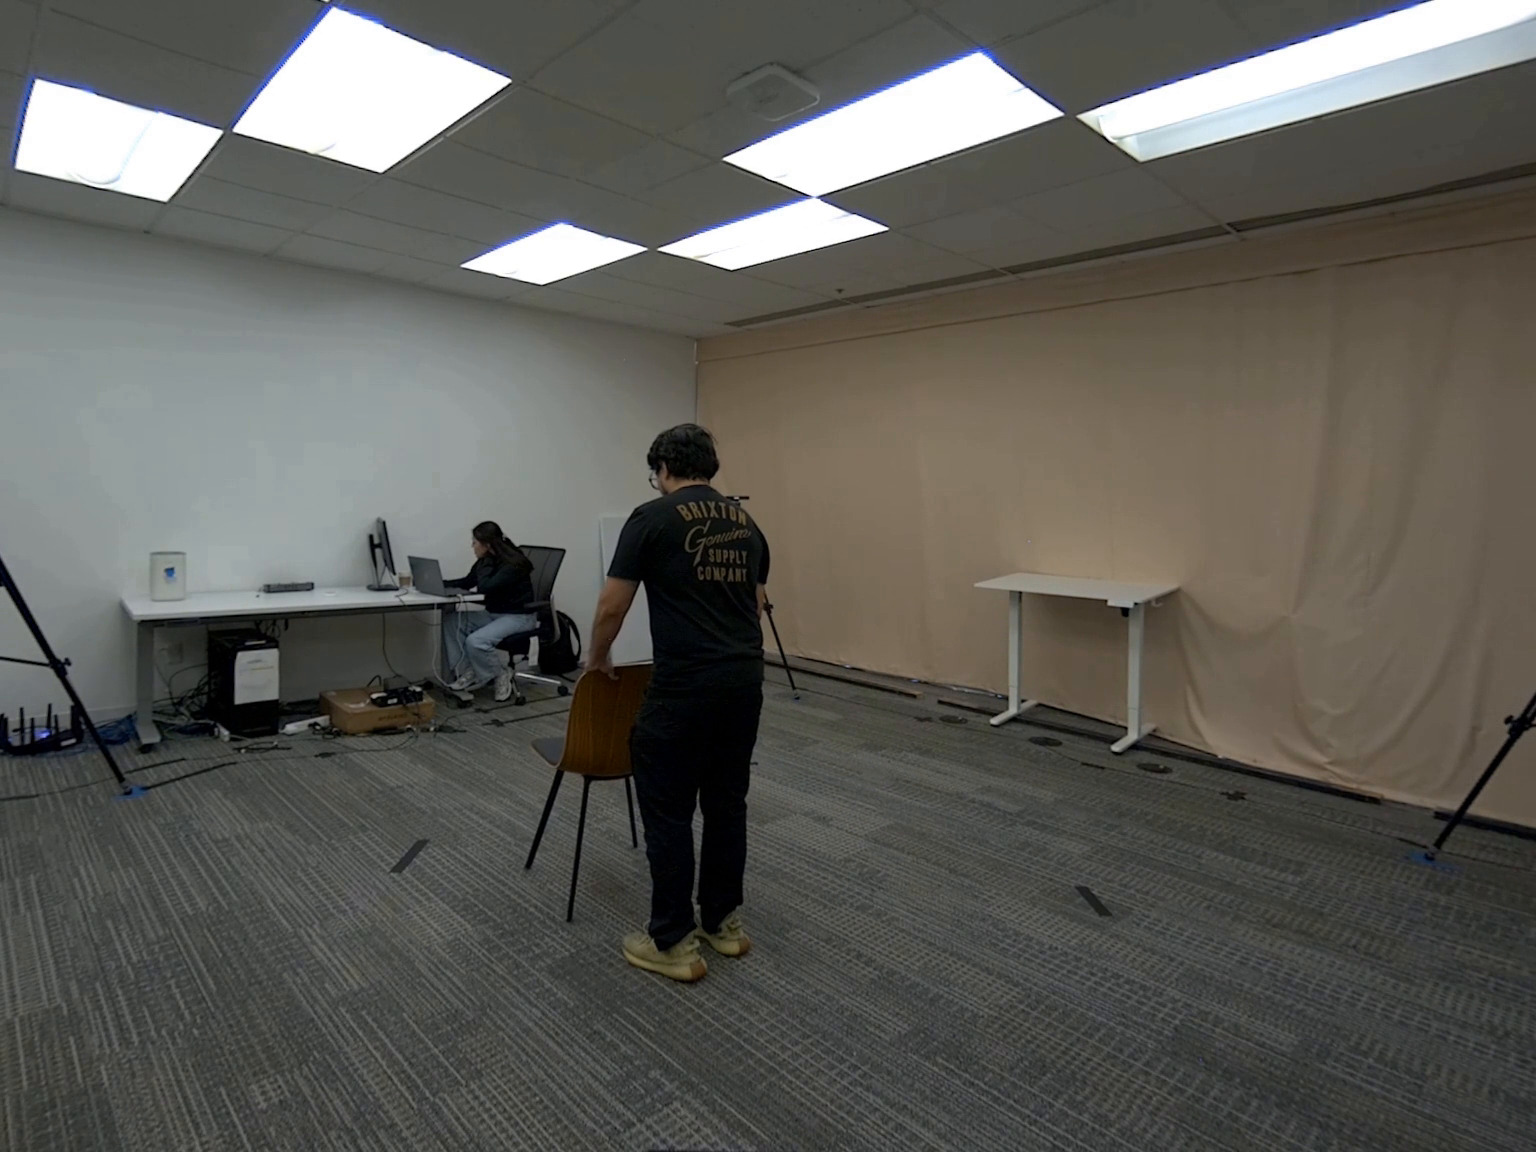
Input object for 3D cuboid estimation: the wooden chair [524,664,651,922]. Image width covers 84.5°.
[{"bbox_3d":[-0.582,0.675,3.011,0.468,0.873,0.537,-1,9,-32],"label":"wooden chair"}]
